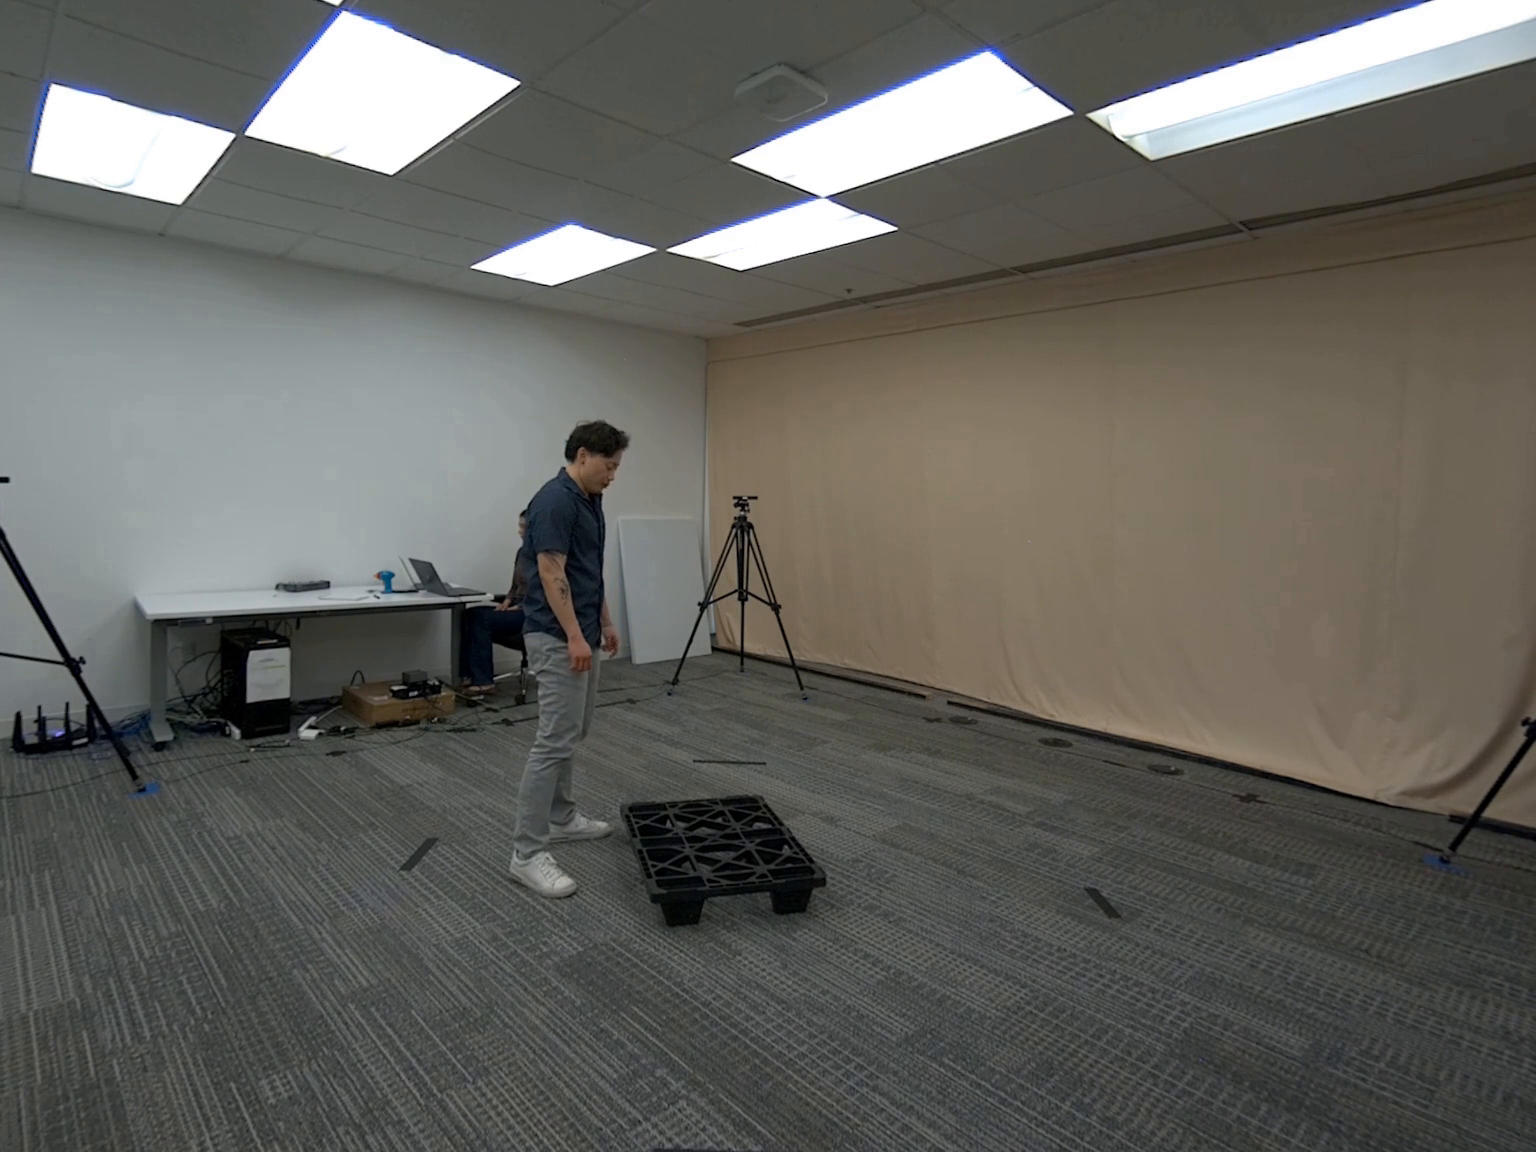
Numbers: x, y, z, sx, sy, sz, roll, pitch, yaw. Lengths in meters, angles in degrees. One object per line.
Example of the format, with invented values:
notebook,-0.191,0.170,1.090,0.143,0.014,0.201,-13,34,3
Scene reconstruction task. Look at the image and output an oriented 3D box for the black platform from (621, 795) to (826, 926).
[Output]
black platform,-0.206,1.031,3.125,0.598,0.143,0.818,0,6,-16
